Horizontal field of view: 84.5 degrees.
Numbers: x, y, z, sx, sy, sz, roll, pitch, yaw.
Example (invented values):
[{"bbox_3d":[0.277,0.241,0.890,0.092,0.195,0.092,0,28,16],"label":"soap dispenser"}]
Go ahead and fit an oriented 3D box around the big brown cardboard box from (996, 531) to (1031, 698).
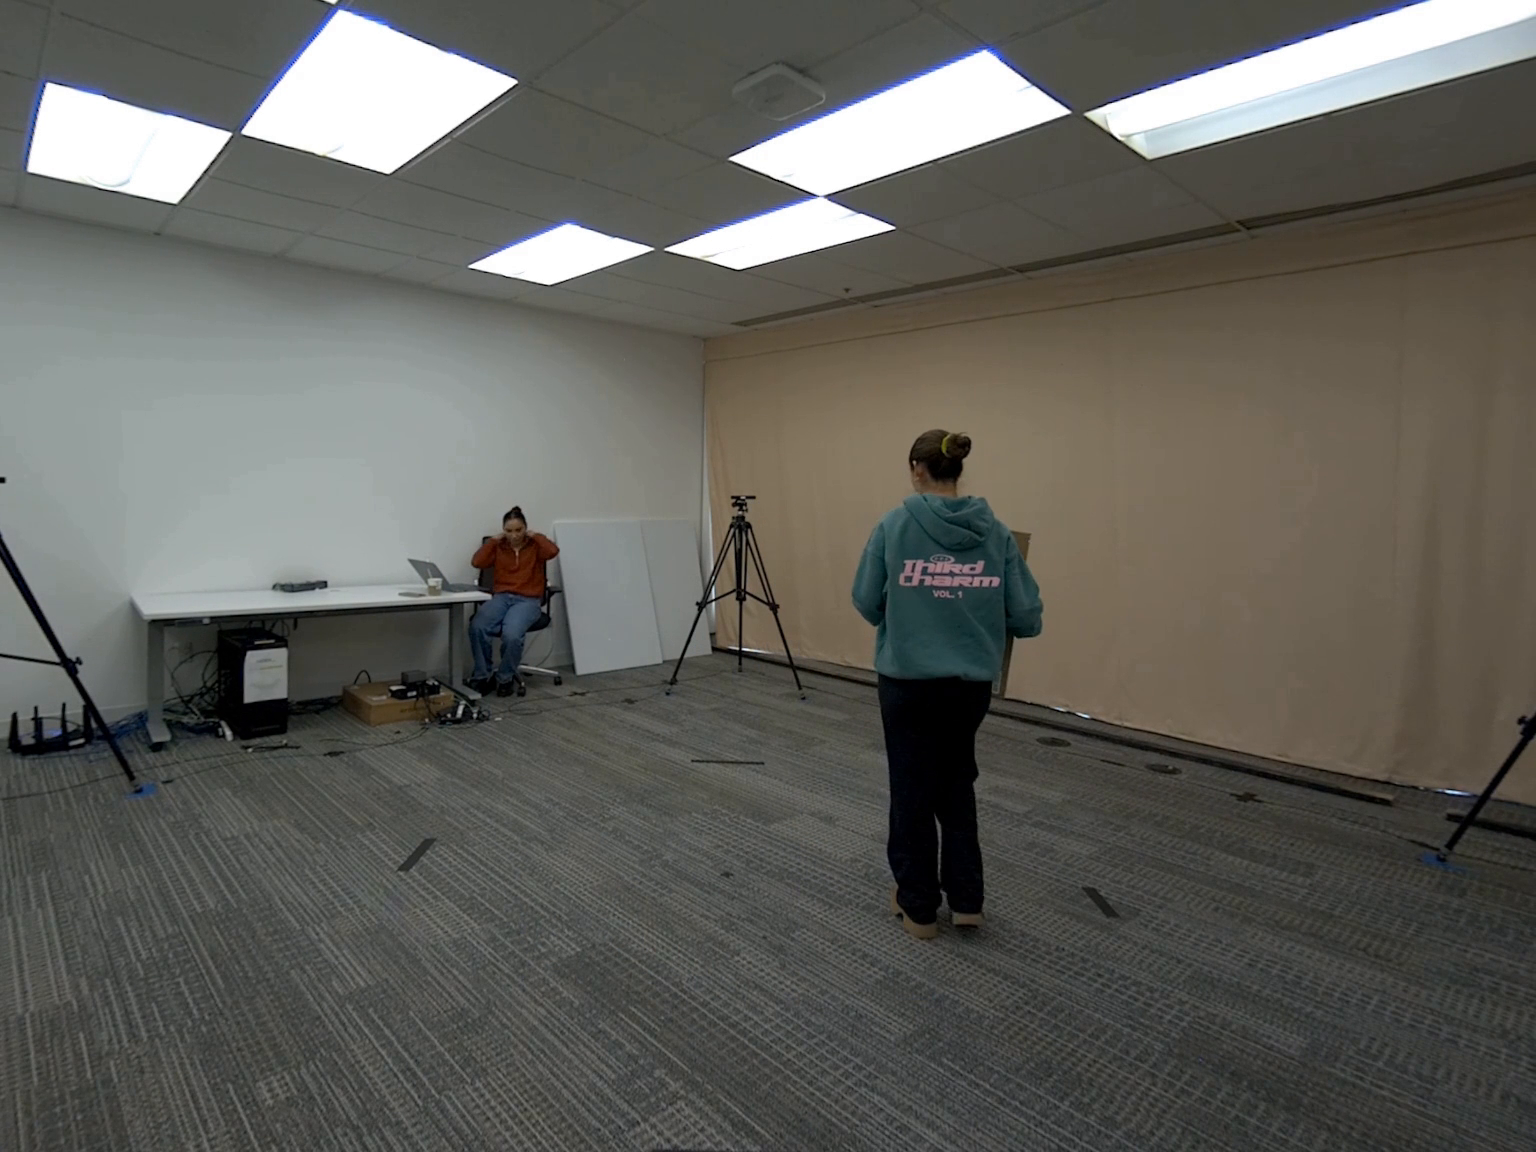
[{"bbox_3d":[0.654,0.104,2.963,0.422,0.589,0.231,9,0,11],"label":"big brown cardboard box"}]
